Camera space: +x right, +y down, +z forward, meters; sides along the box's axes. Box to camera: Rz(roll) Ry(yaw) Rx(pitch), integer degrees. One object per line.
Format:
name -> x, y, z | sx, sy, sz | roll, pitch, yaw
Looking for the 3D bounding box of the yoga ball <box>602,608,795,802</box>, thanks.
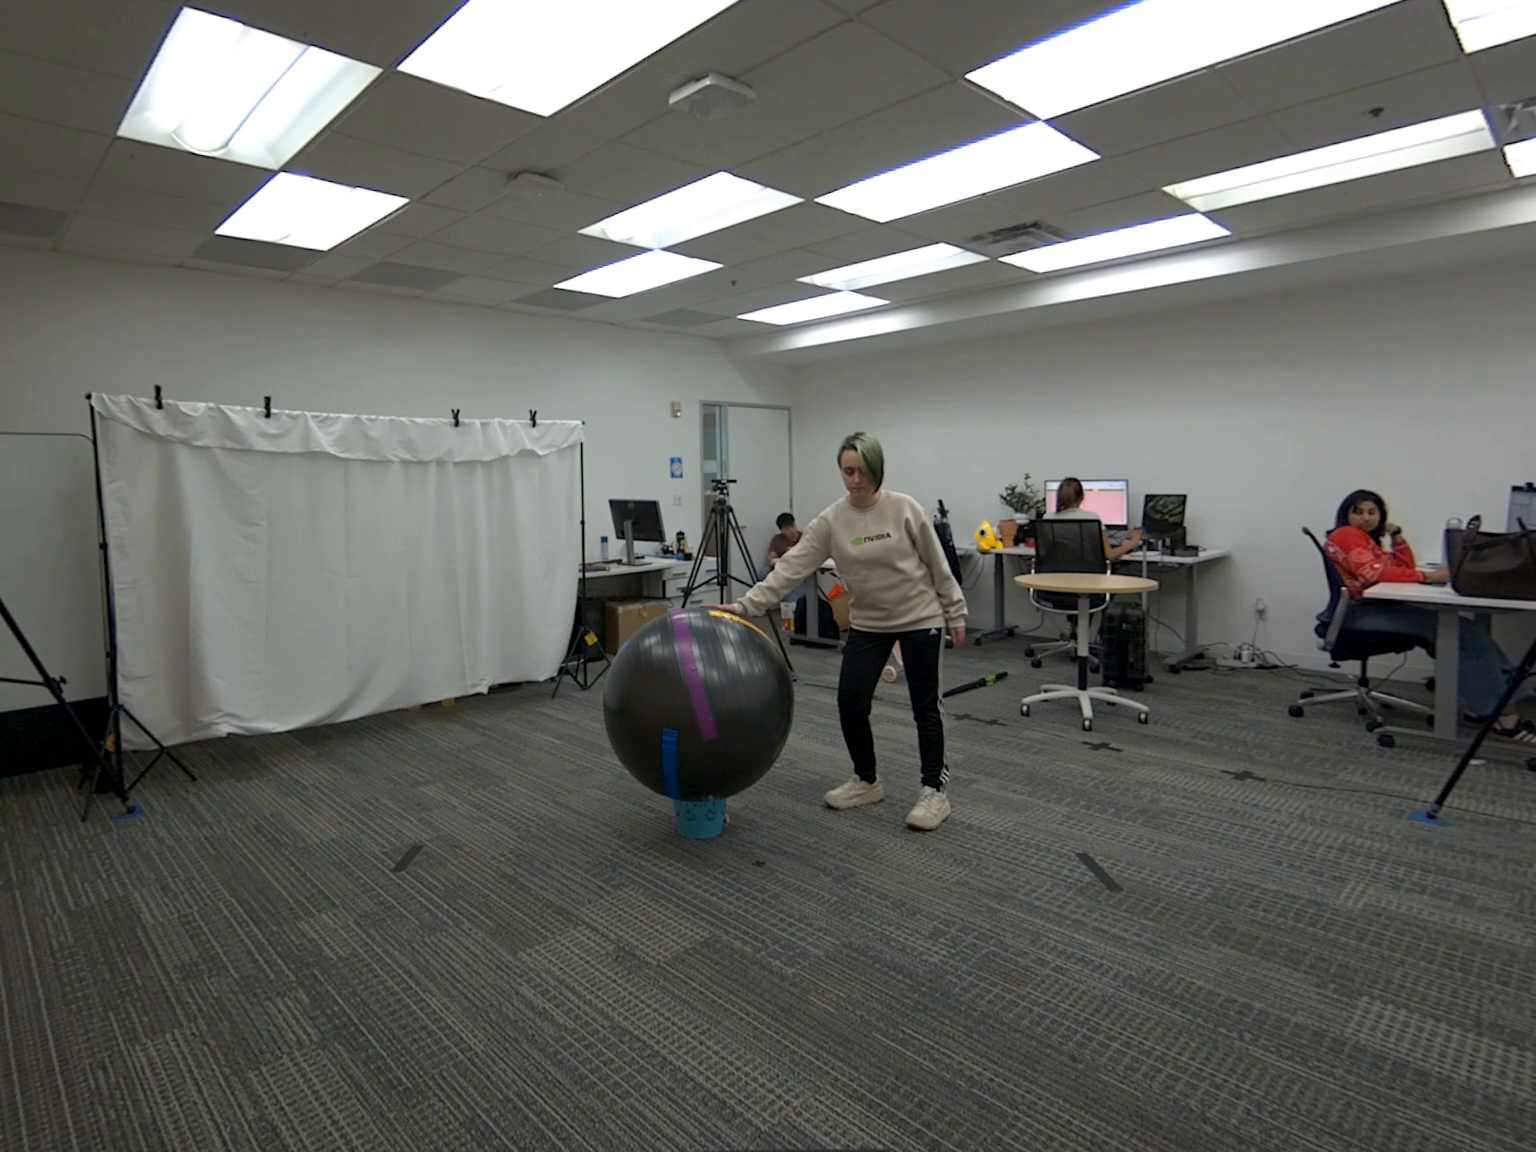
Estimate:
yoga ball -> -0.272, 0.508, 3.398 | 0.757, 0.755, 0.762 | -1, 5, -2
